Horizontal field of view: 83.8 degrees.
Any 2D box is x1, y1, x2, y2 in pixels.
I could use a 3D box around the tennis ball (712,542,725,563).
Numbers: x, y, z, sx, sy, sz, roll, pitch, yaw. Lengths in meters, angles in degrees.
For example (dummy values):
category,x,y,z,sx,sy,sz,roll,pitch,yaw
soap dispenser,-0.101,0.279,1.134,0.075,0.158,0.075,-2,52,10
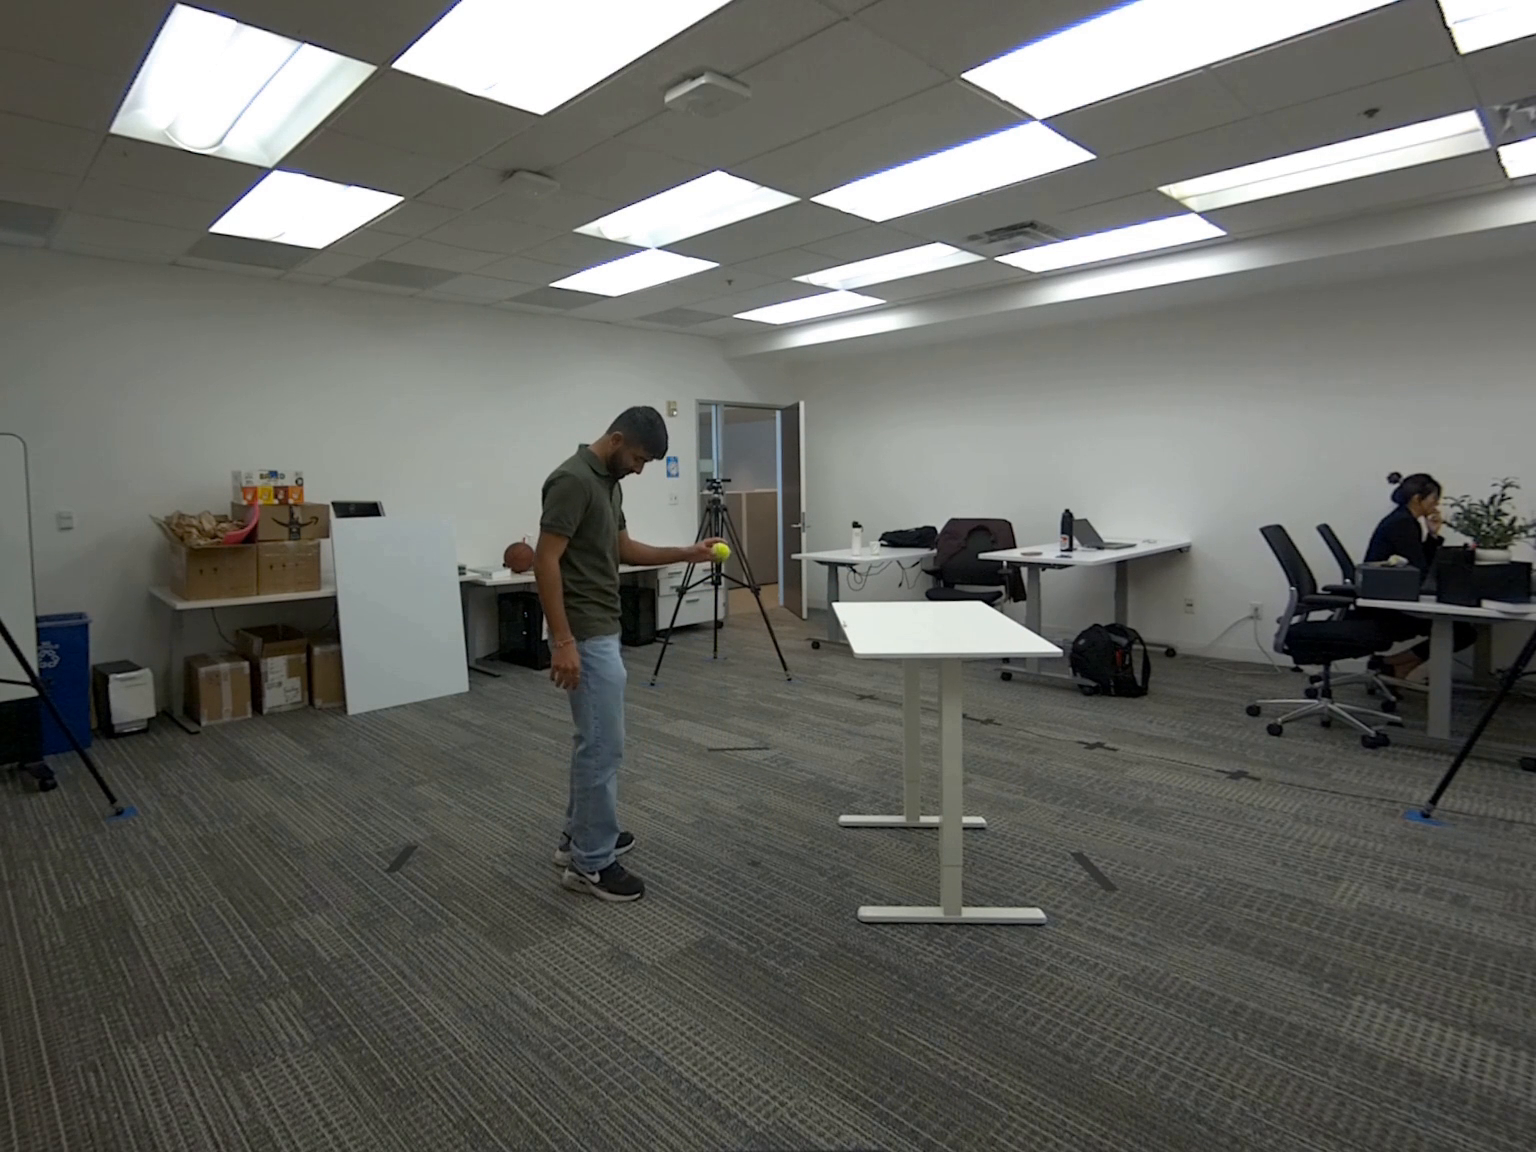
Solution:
category,x,y,z,sx,sy,sz,roll,pitch,yaw
tennis ball,-0.220,-0.077,3.119,0.066,0.066,0.067,-1,5,-2
